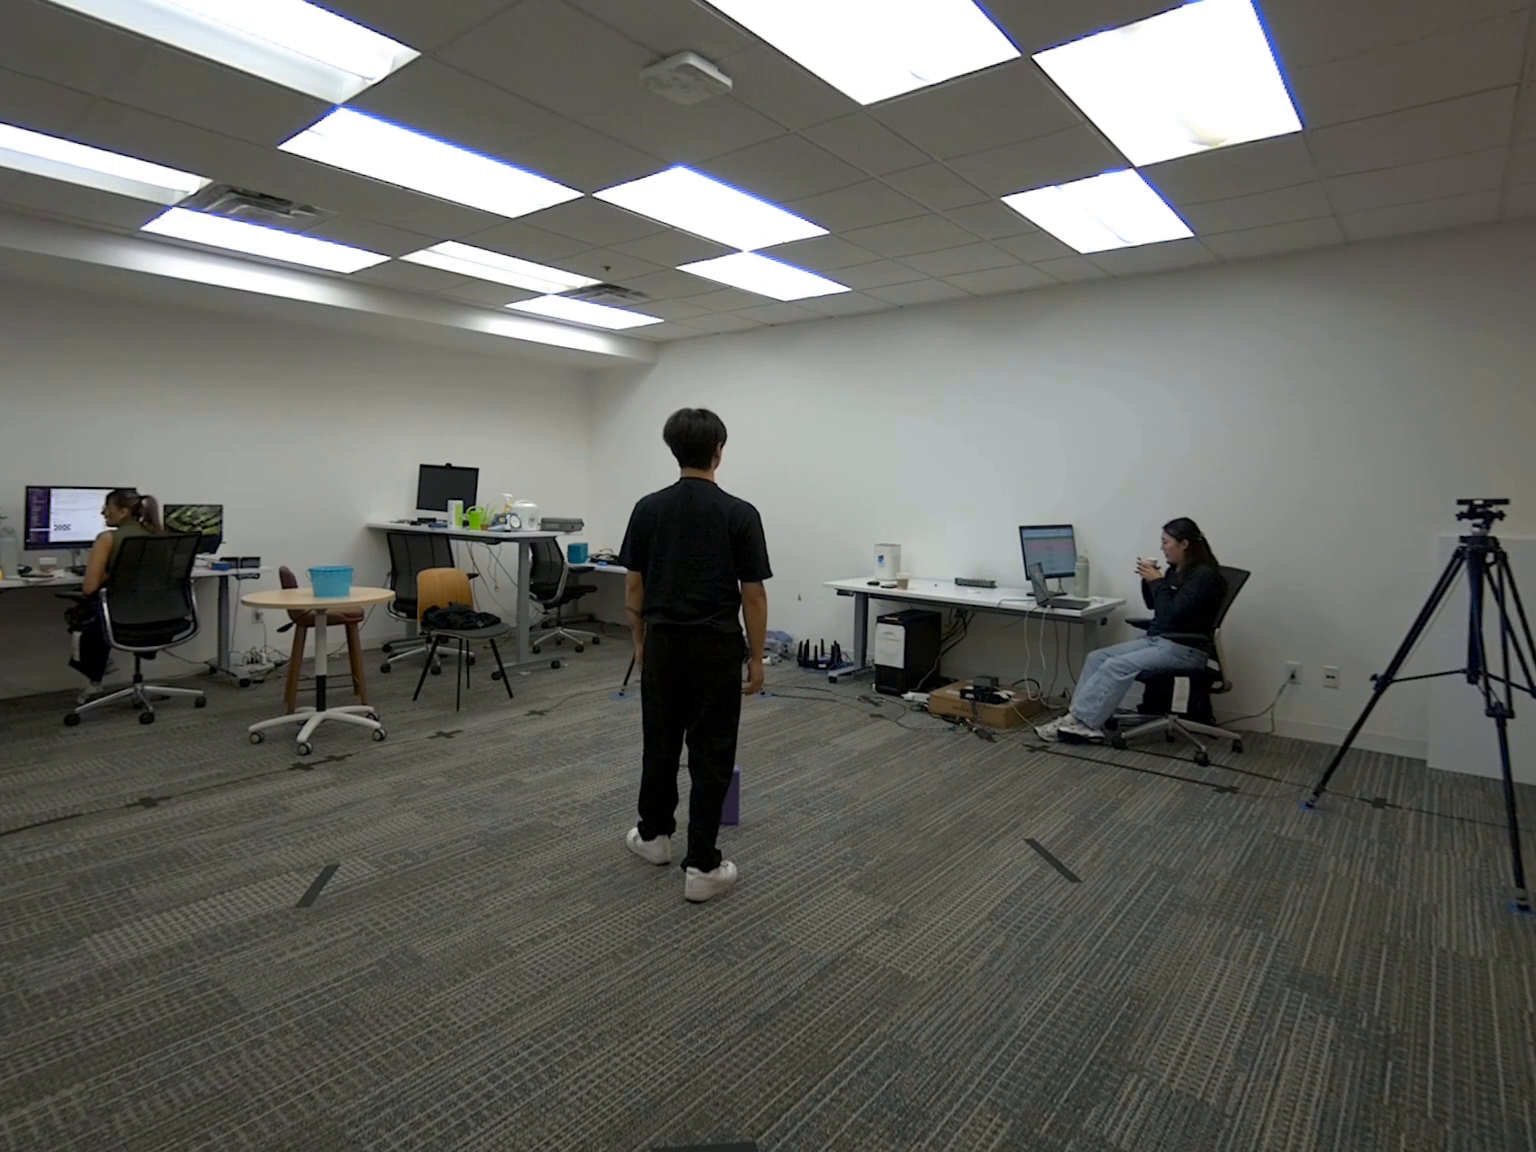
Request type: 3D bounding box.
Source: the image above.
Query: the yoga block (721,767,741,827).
[{"bbox_3d":[-0.201,0.914,3.558,0.149,0.229,0.077,0,3,-1],"label":"yoga block"}]
